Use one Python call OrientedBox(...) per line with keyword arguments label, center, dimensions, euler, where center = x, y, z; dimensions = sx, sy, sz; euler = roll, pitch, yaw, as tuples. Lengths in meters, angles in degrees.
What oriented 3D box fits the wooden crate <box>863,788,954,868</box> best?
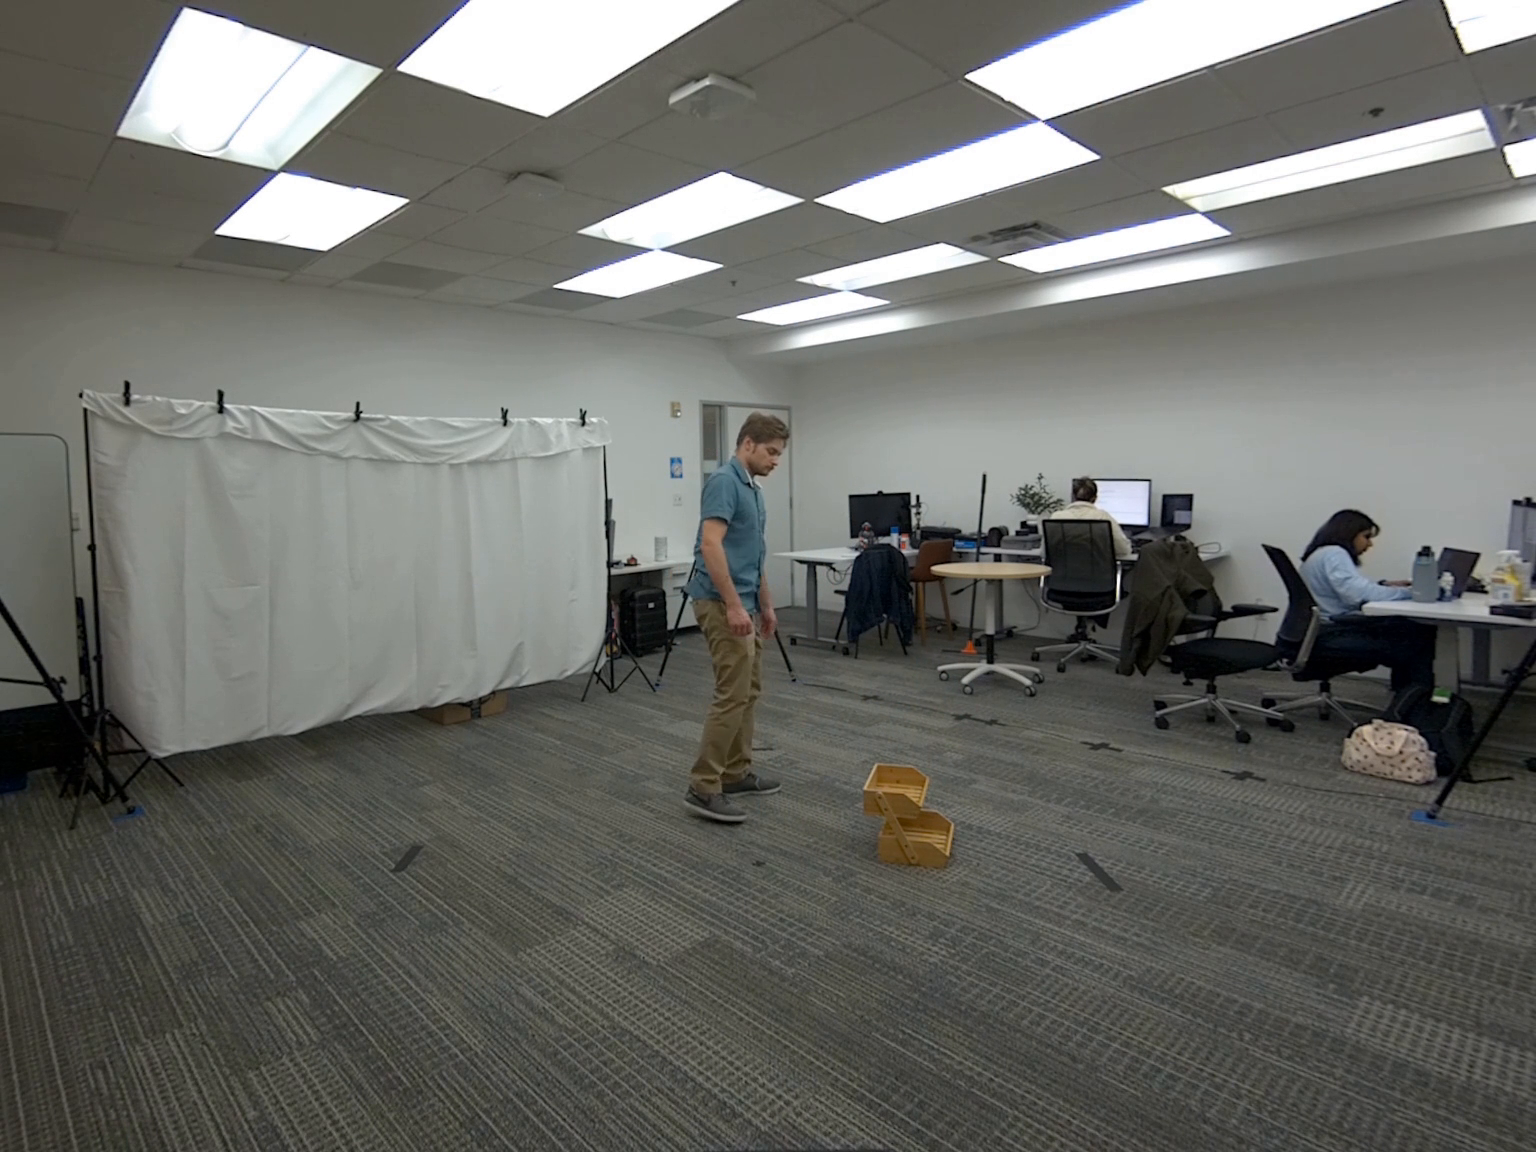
OrientedBox(label="wooden crate", center=(0.544, 0.892, 3.222), dimensions=(0.307, 0.272, 0.320), euler=(0, 5, 17))
